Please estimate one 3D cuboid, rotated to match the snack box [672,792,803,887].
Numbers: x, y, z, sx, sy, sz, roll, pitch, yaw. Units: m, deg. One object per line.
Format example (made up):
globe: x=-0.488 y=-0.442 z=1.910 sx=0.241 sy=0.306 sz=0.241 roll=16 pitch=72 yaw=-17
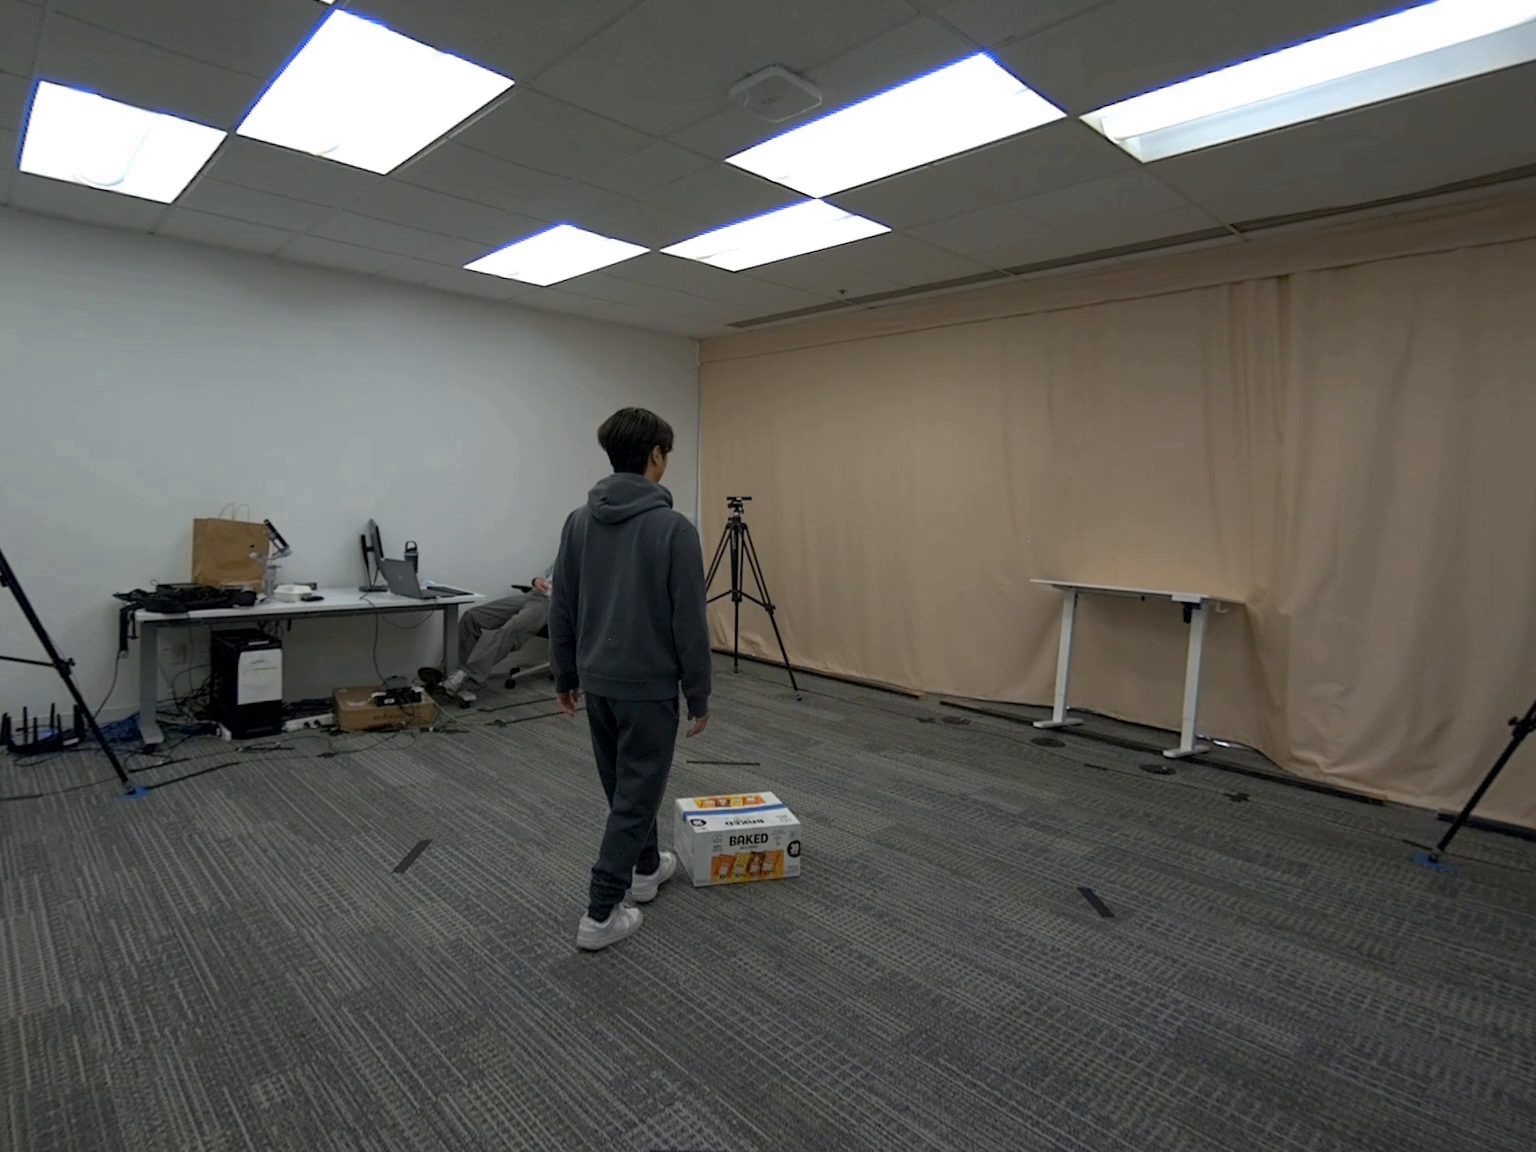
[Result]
snack box: x=-0.131 y=0.995 z=3.208 sx=0.400 sy=0.205 sz=0.346 roll=0 pitch=4 yaw=-18
